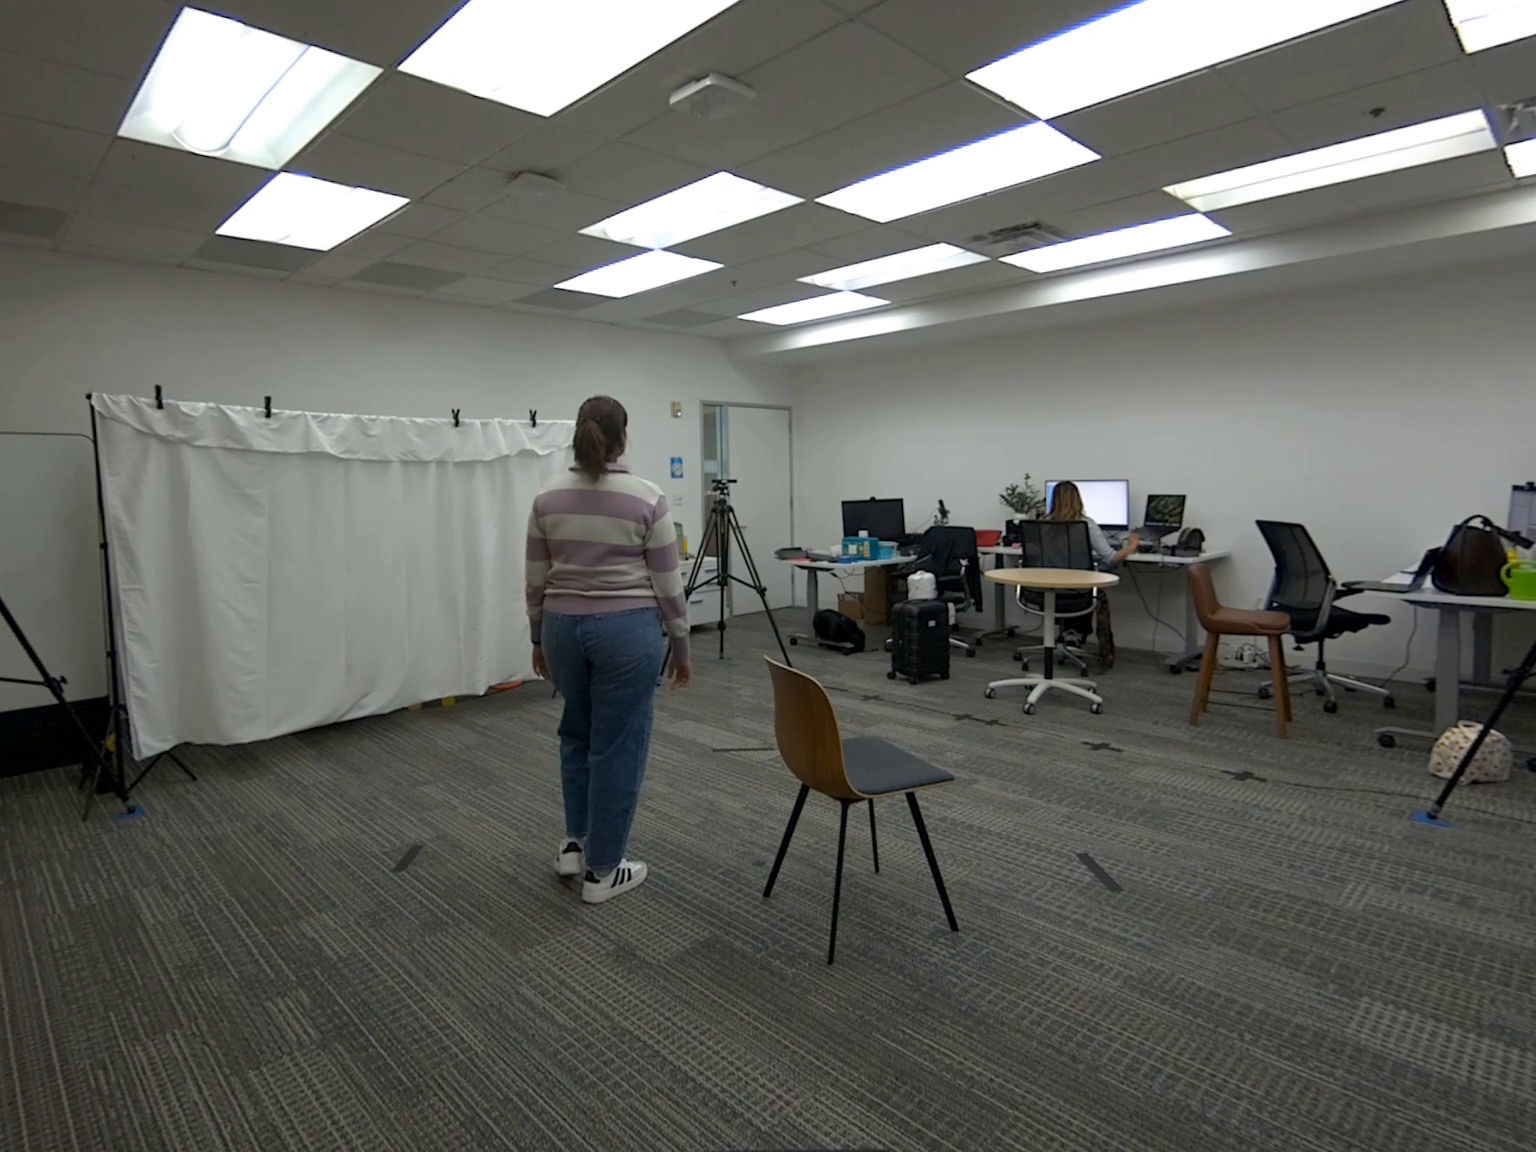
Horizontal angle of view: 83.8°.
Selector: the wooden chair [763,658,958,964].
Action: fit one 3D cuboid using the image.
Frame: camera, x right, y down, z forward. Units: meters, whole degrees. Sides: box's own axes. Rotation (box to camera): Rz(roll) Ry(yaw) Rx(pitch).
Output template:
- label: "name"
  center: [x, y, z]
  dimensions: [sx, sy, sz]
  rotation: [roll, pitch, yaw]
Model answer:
- label: "wooden chair"
  center: [0.286, 0.657, 2.708]
  dimensions: [0.513, 0.872, 0.490]
  rotation: [-8, 6, -24]
